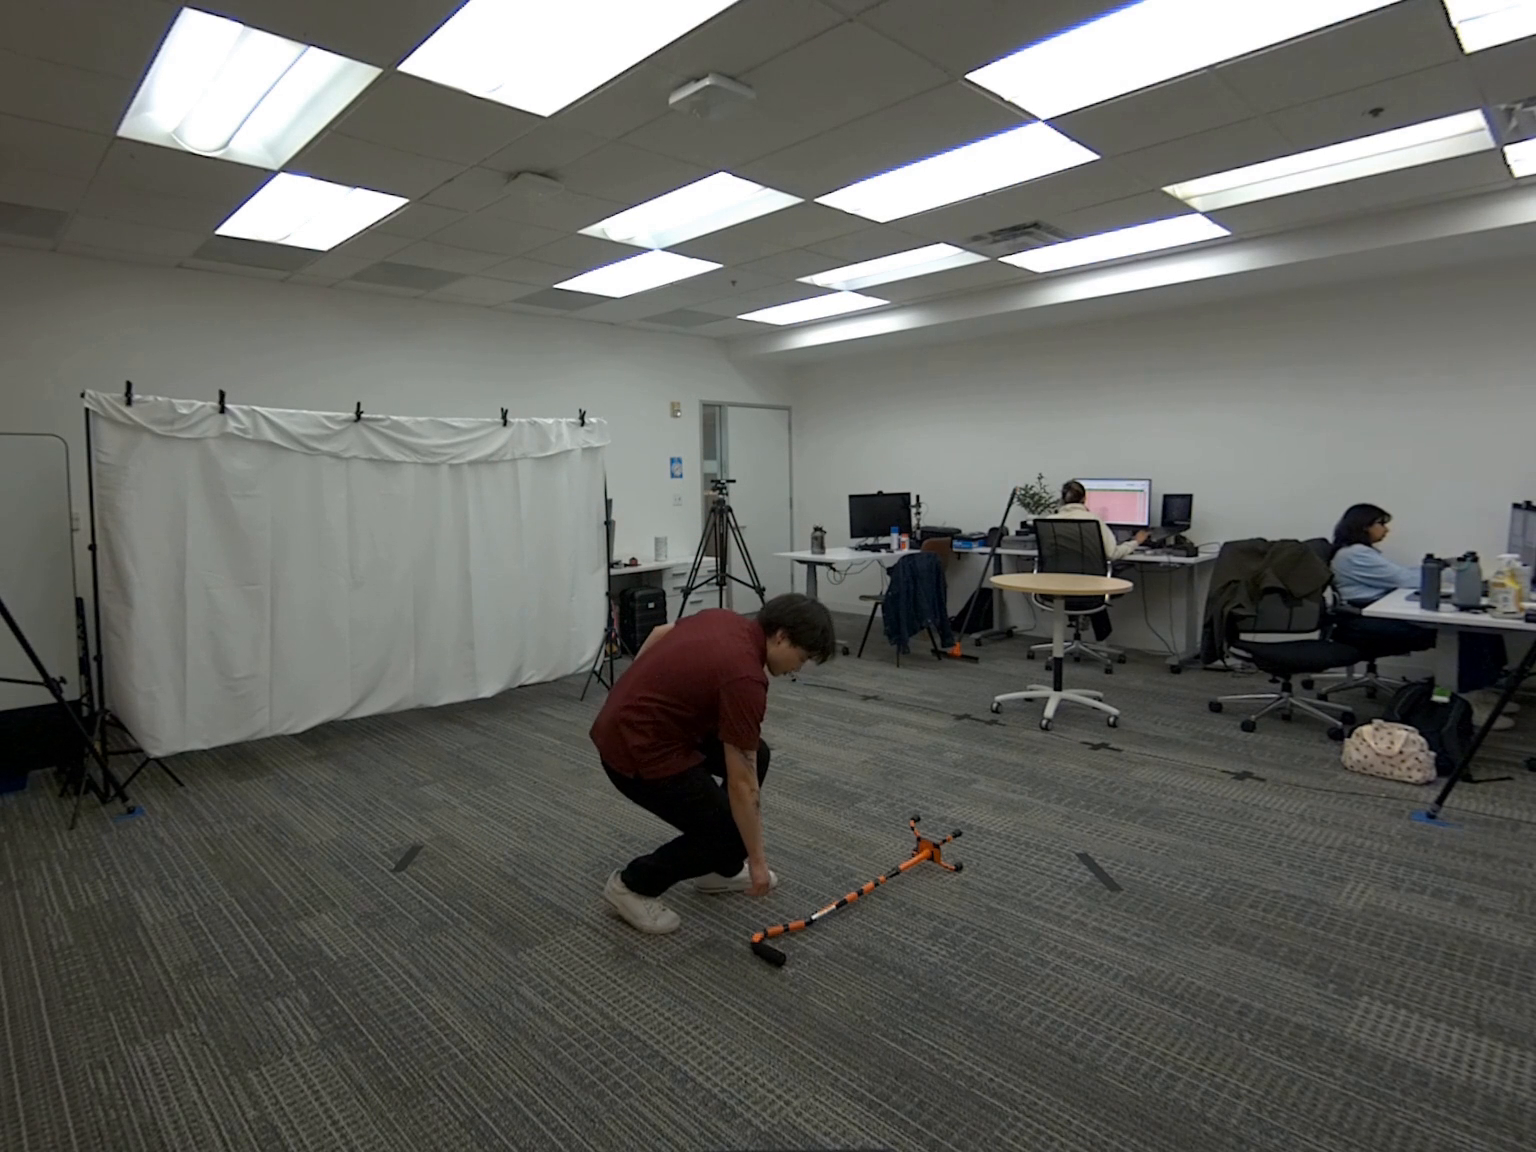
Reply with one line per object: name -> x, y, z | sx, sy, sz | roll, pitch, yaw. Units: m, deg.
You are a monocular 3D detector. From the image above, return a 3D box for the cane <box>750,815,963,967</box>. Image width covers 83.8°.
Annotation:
cane -> 0.293, 1.020, 2.800 | 0.886, 0.150, 0.213 | -11, 10, -42
